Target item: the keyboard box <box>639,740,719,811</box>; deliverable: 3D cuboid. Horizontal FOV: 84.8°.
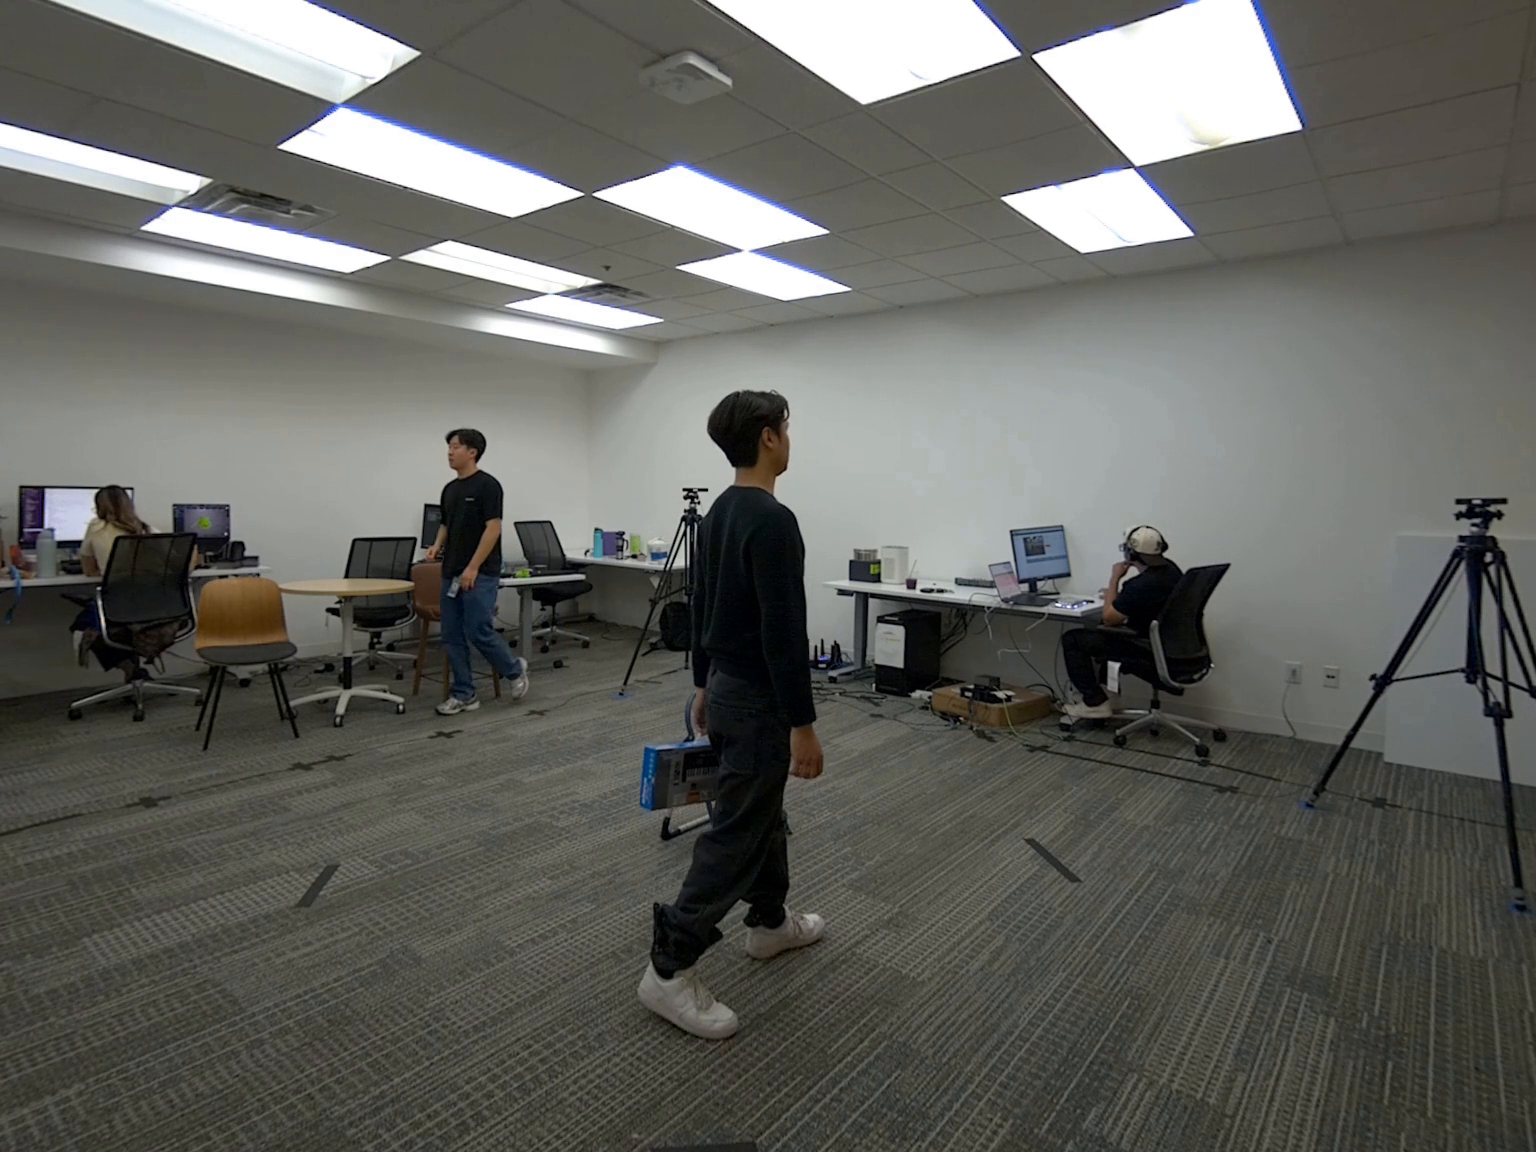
[{"bbox_3d":[-0.198,0.586,2.566,0.061,0.176,0.422,2,-2,45],"label":"keyboard box"}]
